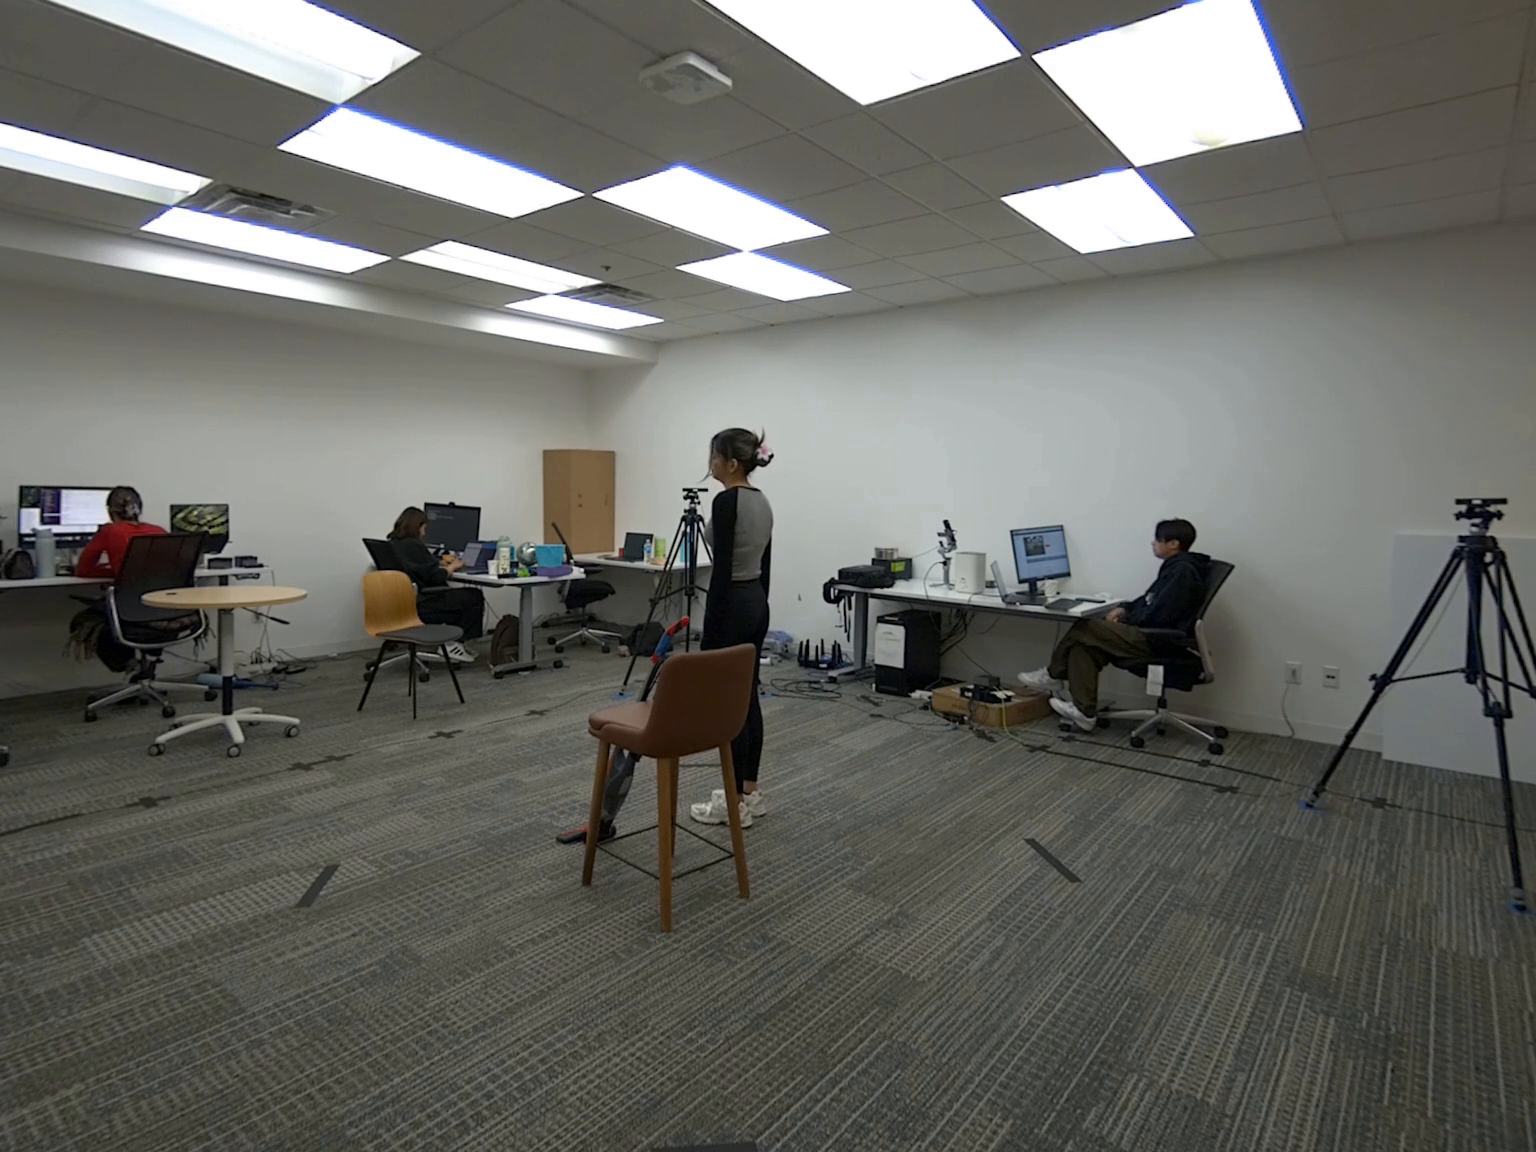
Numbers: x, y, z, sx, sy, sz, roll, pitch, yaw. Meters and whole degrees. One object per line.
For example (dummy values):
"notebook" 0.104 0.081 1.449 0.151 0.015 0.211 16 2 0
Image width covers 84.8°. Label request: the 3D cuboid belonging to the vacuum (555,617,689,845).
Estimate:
"vacuum" -0.520 0.588 3.197 0.149 1.040 0.245 37 23 30
